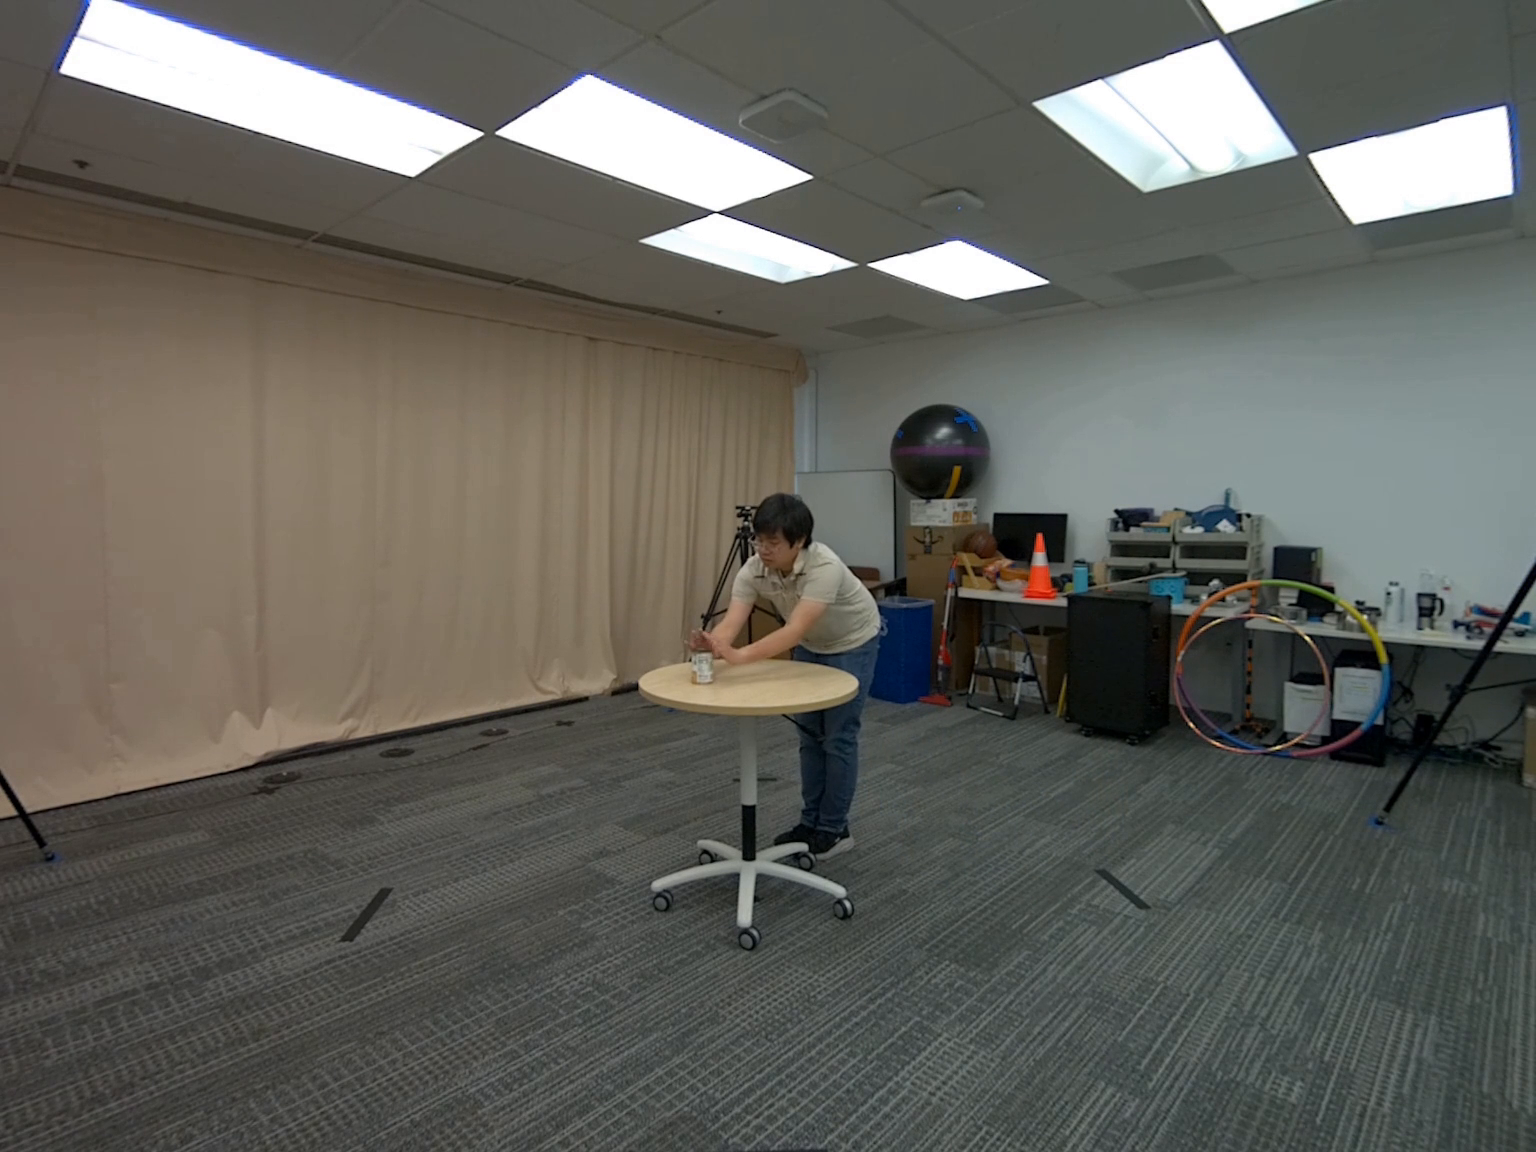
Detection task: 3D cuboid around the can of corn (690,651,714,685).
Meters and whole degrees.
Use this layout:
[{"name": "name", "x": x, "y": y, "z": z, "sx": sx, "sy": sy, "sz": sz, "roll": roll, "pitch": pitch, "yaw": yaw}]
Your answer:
[{"name": "can of corn", "x": -0.224, "y": 0.315, "z": 2.914, "sx": 0.074, "sy": 0.111, "sz": 0.074, "roll": 0, "pitch": 3, "yaw": -2}]
